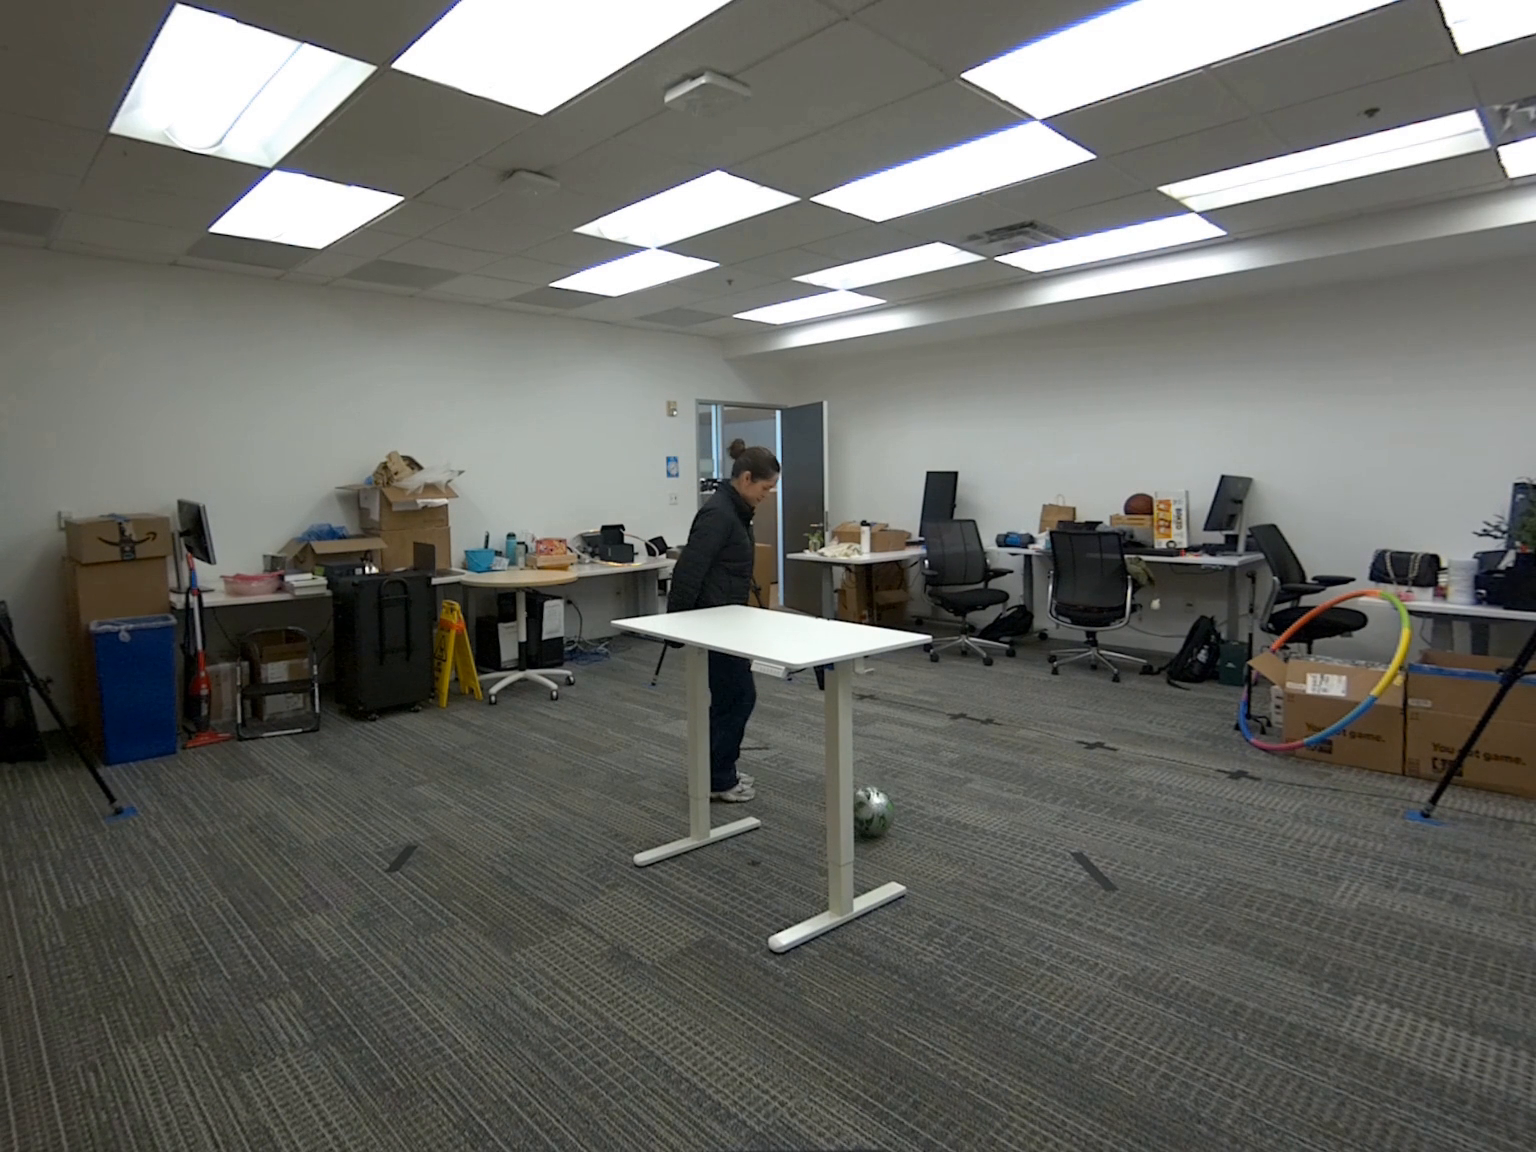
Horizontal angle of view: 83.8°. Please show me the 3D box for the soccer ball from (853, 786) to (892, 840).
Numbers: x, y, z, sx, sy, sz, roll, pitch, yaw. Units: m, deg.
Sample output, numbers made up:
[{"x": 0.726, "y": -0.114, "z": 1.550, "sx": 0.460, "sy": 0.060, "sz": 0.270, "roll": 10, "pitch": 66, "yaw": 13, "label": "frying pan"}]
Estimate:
[{"x": 0.401, "y": 0.915, "z": 3.328, "sx": 0.187, "sy": 0.187, "sz": 0.188, "roll": -1, "pitch": 5, "yaw": -2, "label": "soccer ball"}]
